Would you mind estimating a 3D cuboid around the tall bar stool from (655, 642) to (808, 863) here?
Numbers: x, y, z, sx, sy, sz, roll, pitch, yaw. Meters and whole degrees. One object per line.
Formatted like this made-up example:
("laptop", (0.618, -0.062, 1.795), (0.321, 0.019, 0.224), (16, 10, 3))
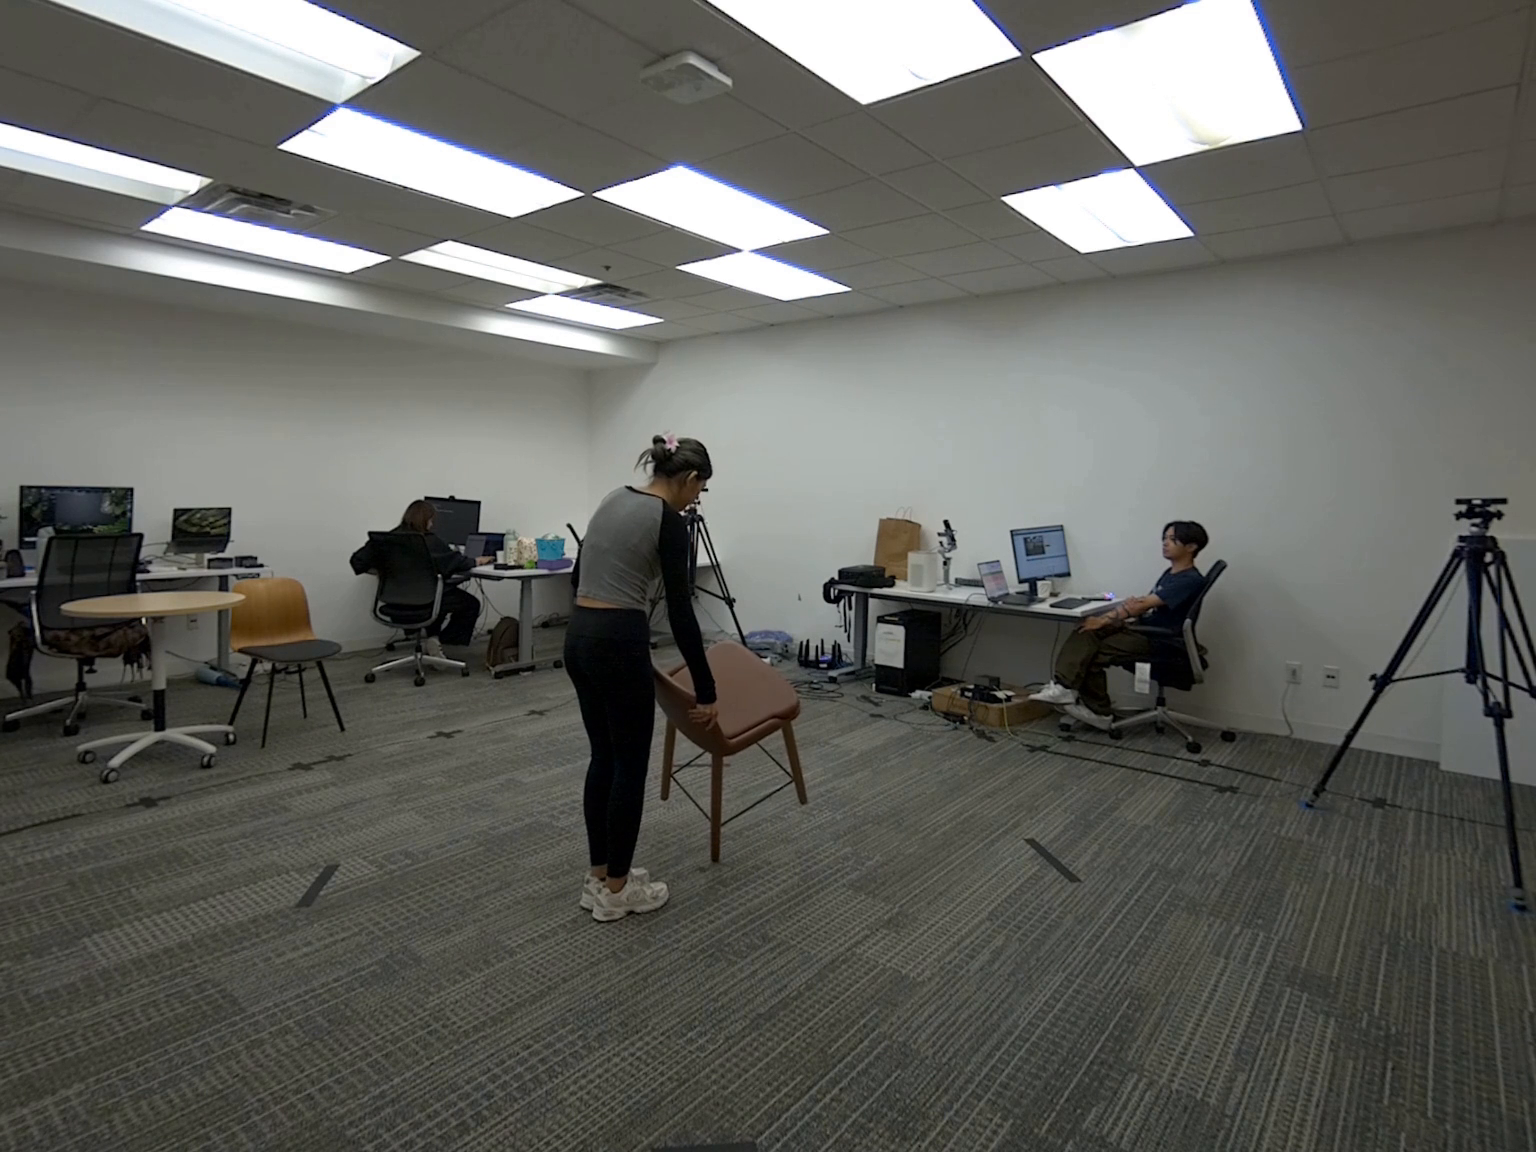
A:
("tall bar stool", (-0.175, 0.551, 3.142), (0.462, 0.863, 0.476), (-27, 42, -26))
